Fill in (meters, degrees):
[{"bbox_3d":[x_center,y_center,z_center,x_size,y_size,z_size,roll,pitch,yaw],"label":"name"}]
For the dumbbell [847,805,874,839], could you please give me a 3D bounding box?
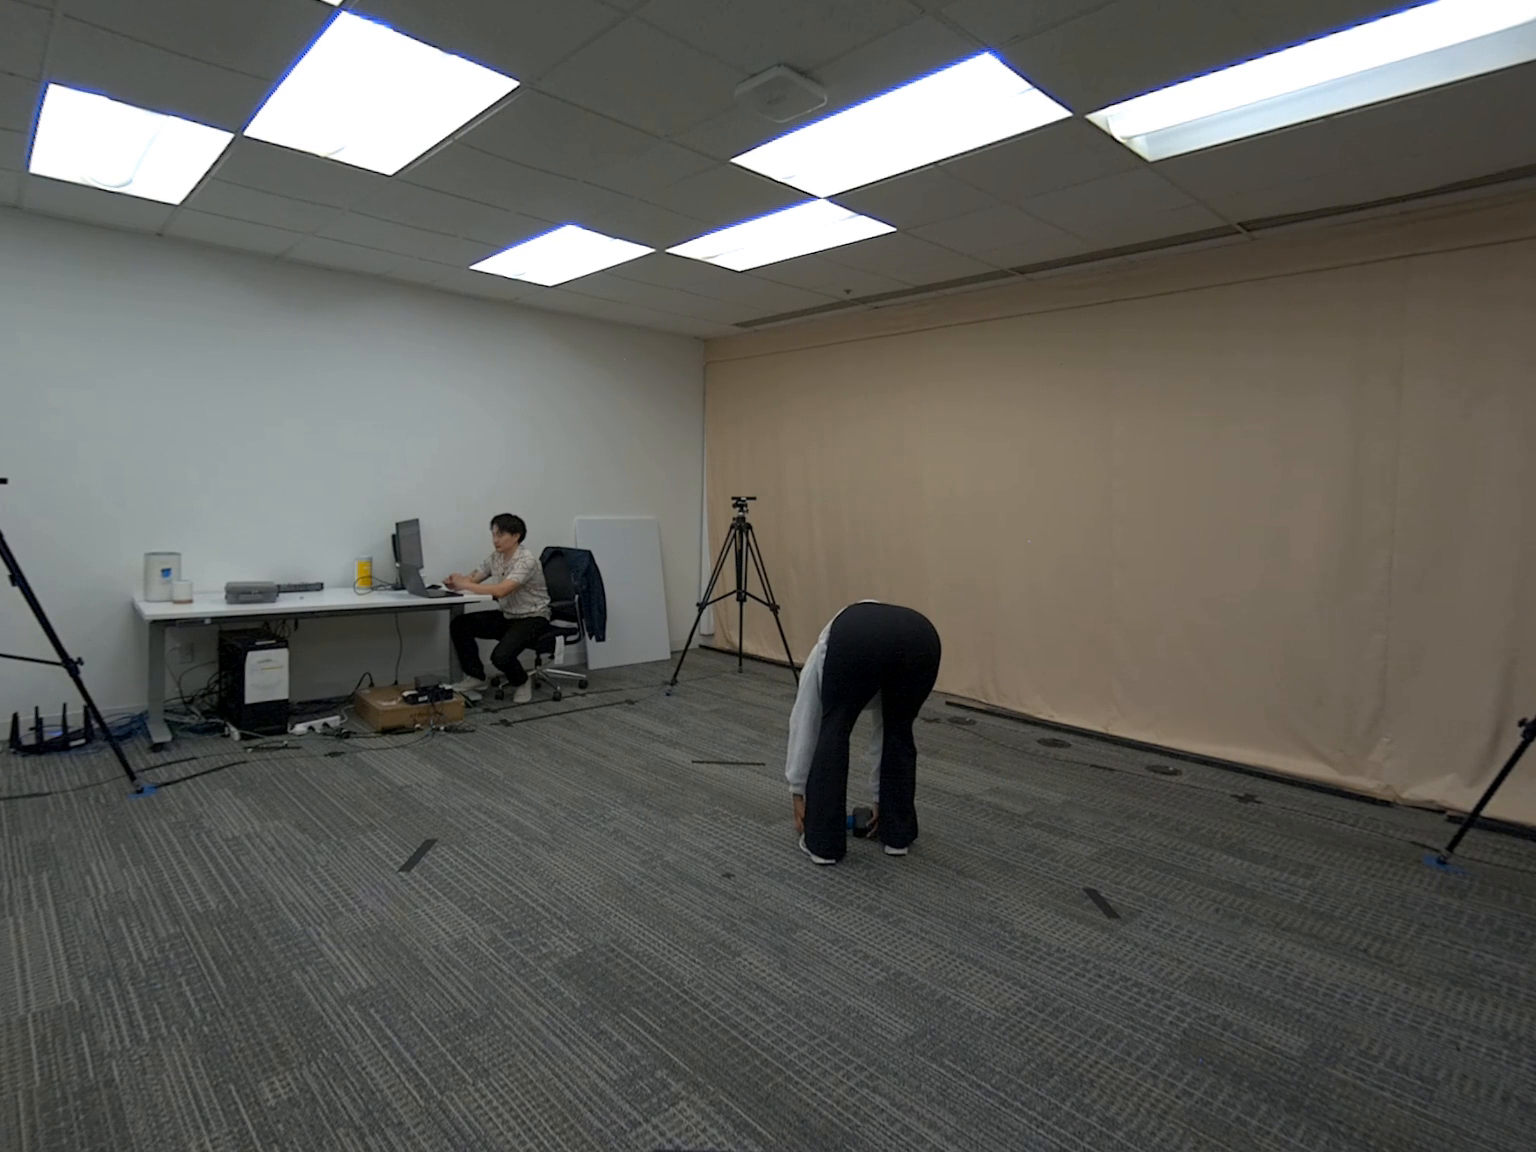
[{"bbox_3d":[0.290,1.032,3.504,0.293,0.120,0.111,-1,34,-3],"label":"dumbbell"}]
